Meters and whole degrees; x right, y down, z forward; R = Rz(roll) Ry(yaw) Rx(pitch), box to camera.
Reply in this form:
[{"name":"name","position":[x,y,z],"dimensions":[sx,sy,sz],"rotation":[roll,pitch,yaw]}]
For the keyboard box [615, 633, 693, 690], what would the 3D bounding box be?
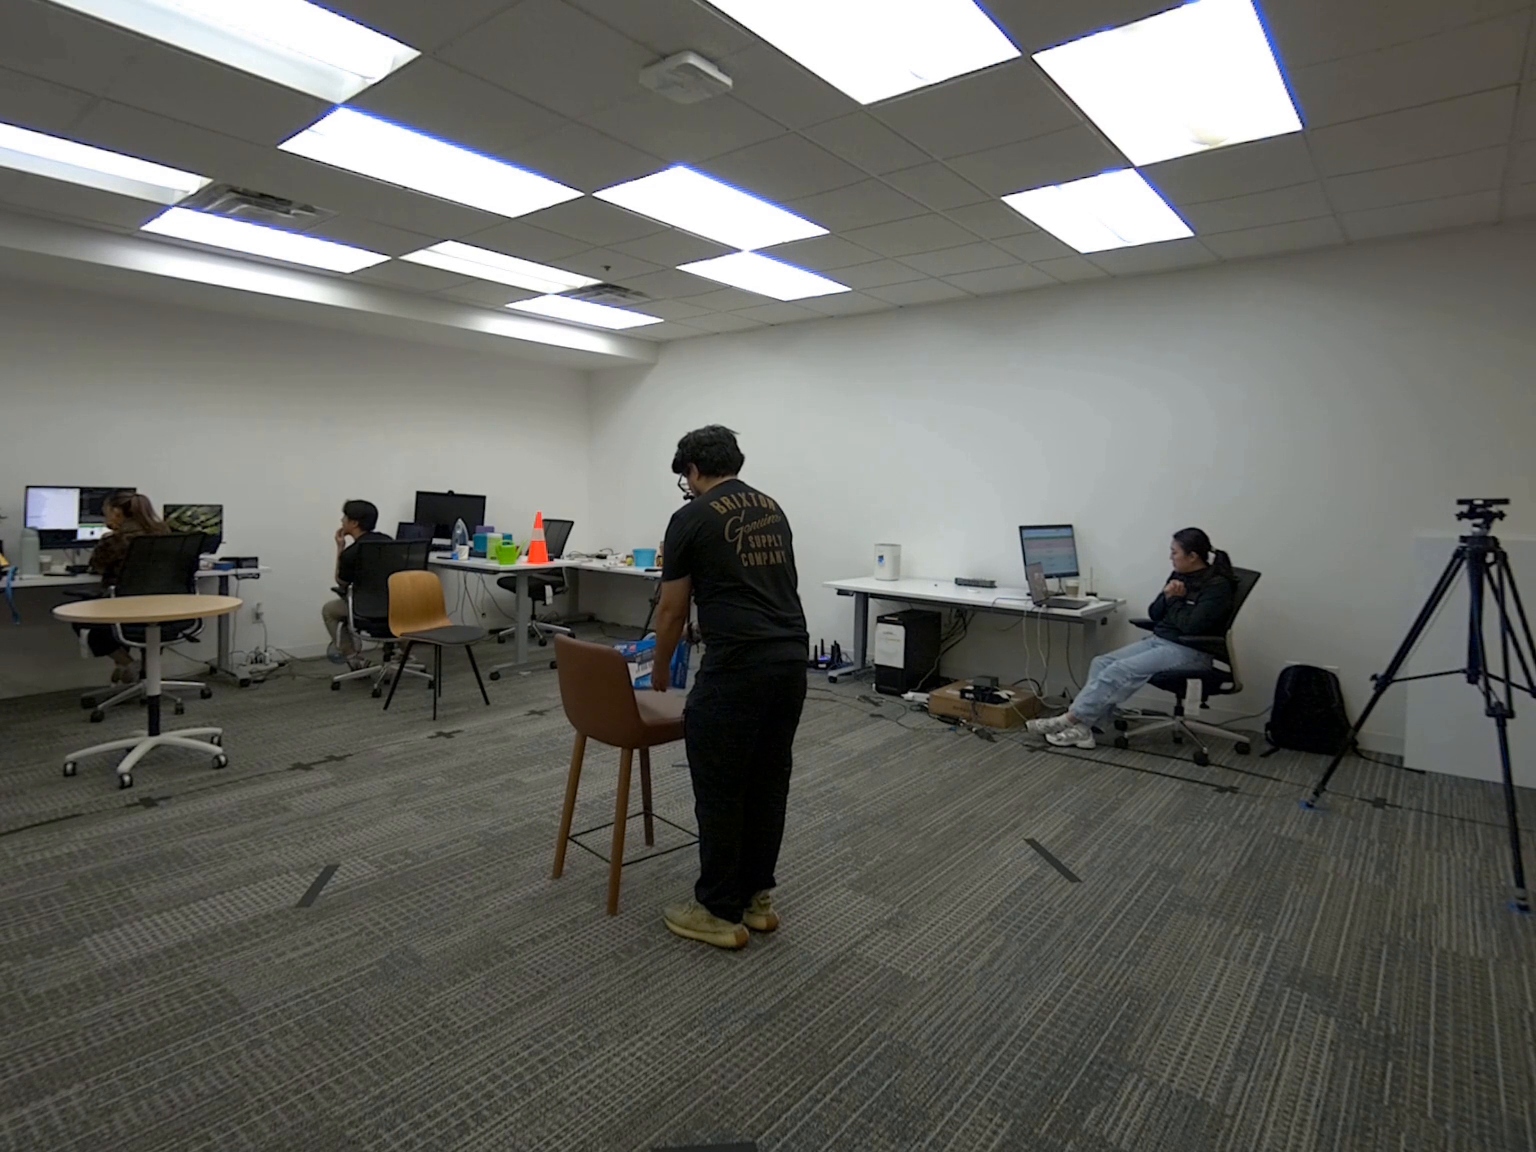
[{"name":"keyboard box","position":[-0.450,0.322,3.083],"dimensions":[0.057,0.178,0.448],"rotation":[21,-20,-38]}]
